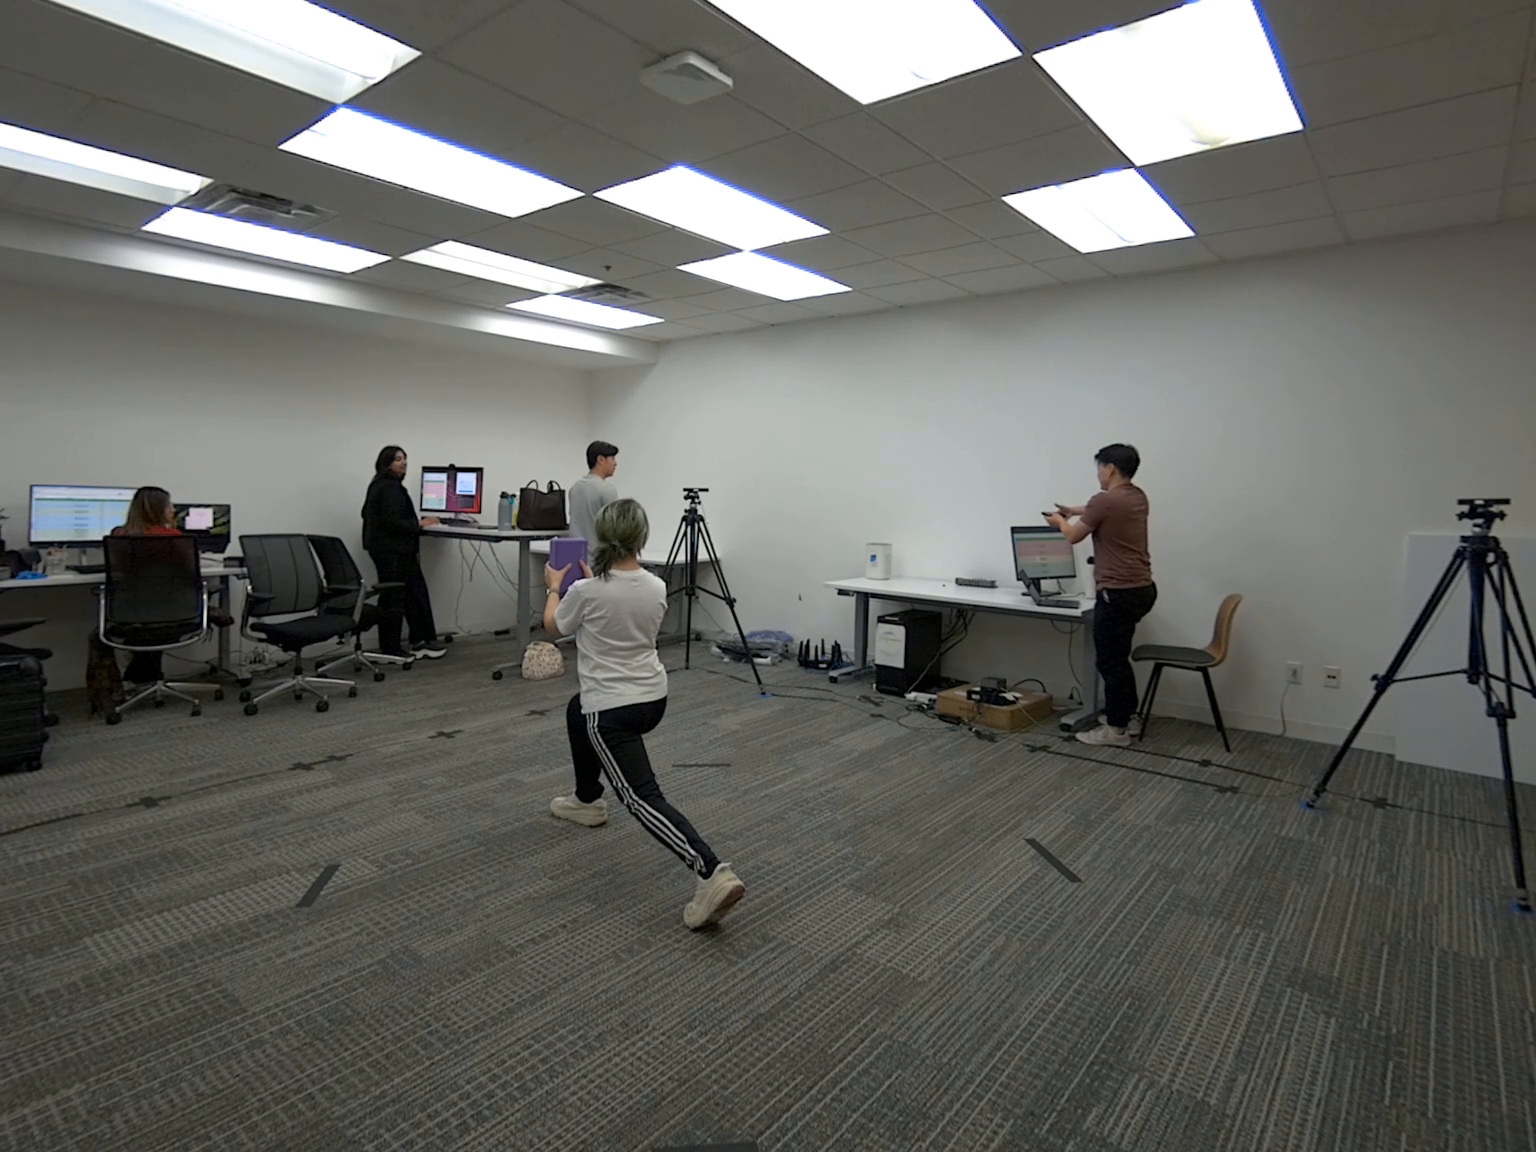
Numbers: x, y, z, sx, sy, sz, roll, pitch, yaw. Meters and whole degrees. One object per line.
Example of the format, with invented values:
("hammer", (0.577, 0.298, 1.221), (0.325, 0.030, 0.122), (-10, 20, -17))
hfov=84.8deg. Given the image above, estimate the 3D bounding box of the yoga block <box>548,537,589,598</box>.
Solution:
("yoga block", (-0.854, -0.047, 3.601), (0.144, 0.228, 0.079), (0, 4, -36))
